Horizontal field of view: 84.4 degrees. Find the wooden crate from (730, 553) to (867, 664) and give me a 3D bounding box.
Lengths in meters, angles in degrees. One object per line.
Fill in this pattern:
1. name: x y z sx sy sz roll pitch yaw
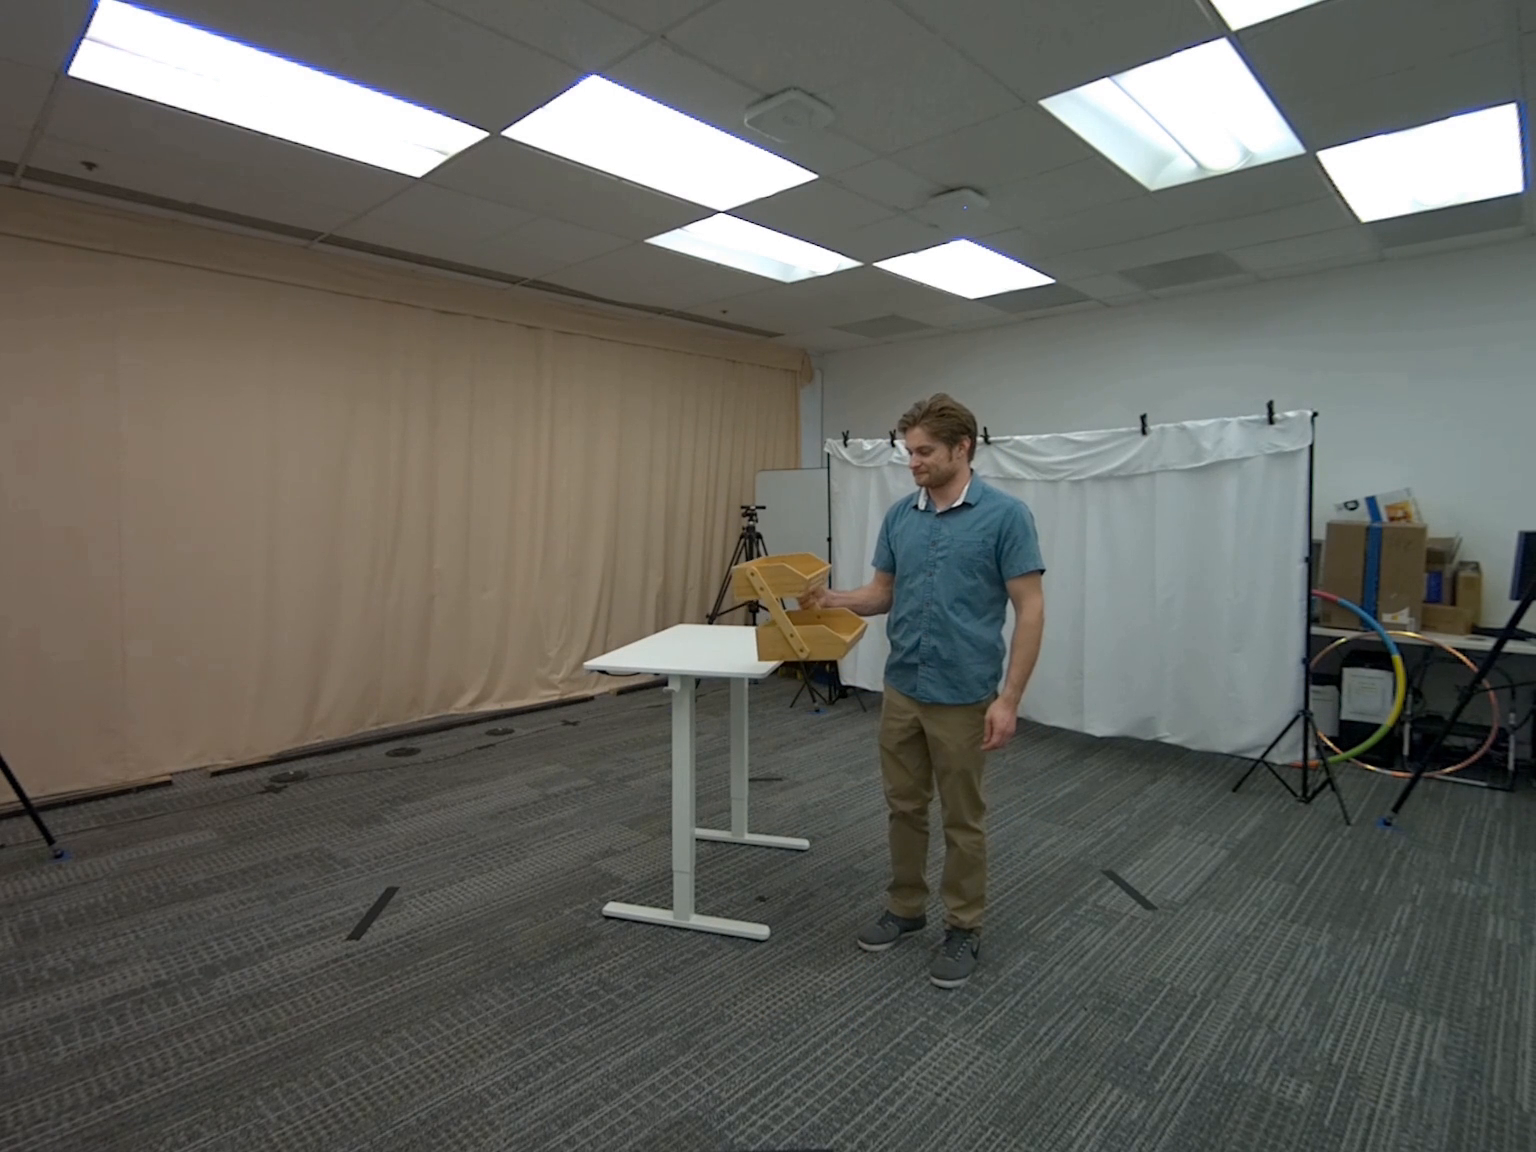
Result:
1. wooden crate: 0.114 0.078 2.361 0.307 0.272 0.320 -4 5 17
